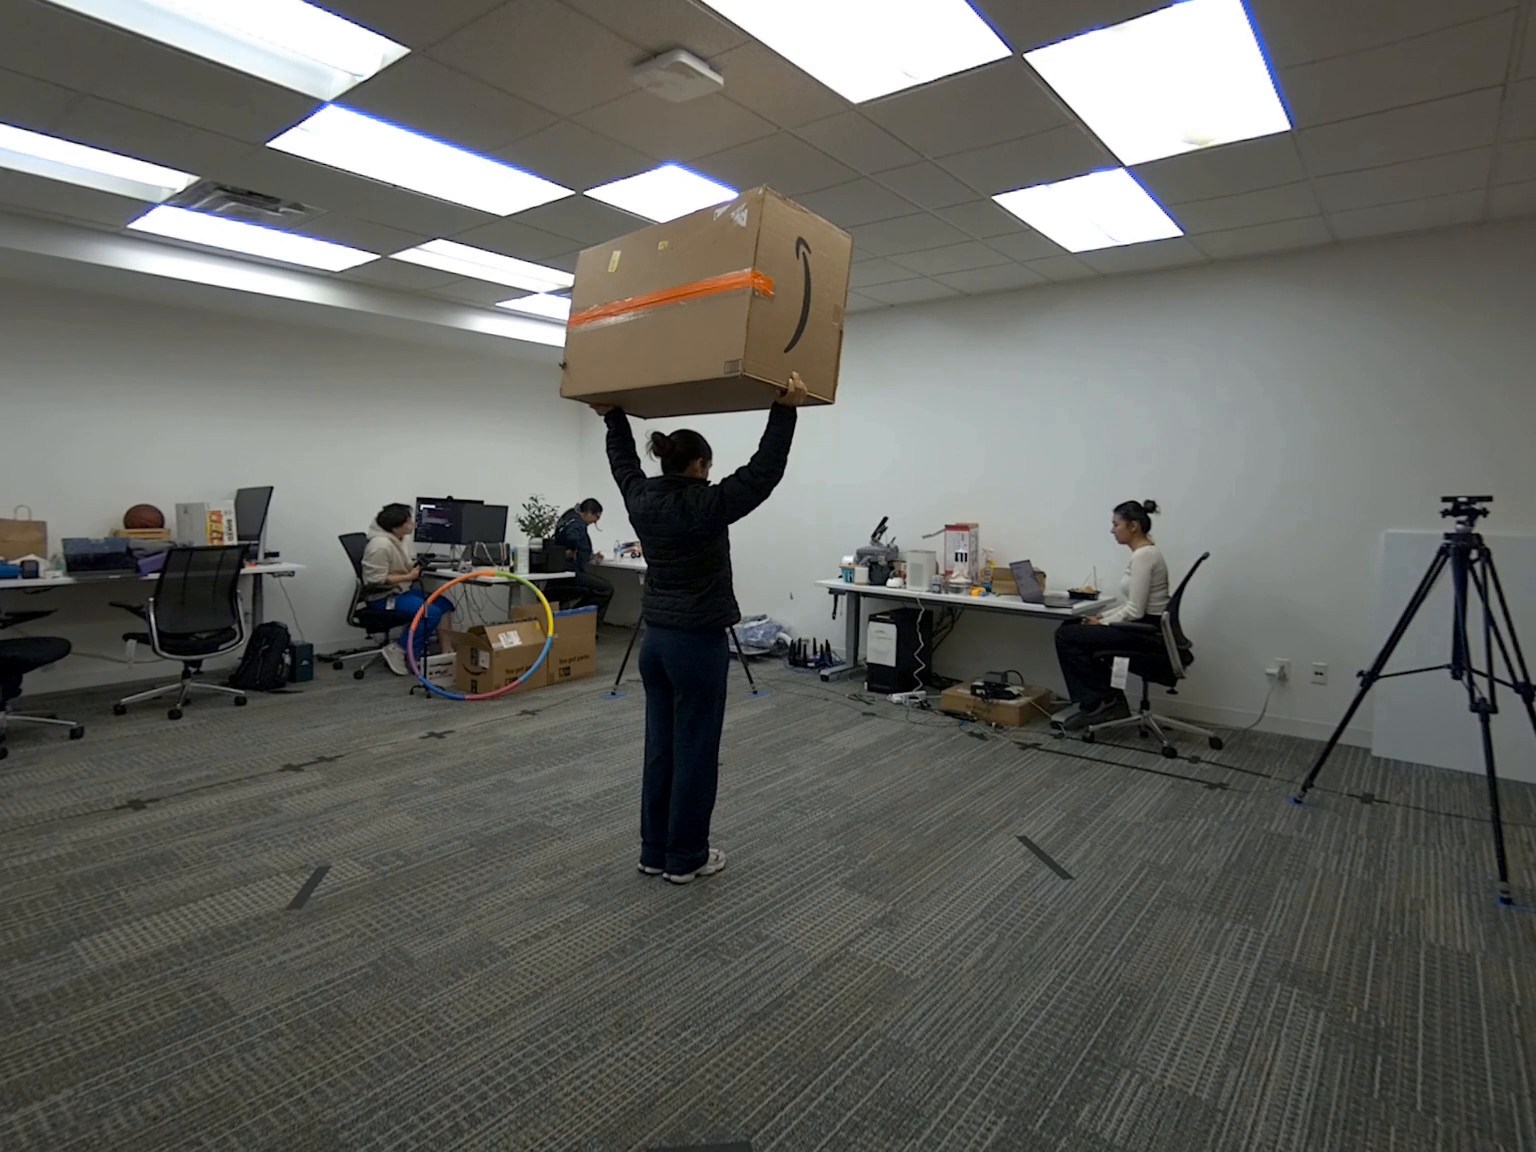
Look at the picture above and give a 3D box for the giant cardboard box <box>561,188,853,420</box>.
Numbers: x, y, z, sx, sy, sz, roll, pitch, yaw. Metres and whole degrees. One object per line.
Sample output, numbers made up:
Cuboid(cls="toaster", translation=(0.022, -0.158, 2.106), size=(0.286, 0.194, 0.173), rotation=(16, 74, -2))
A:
Cuboid(cls="giant cardboard box", translation=(-0.246, -0.902, 3.036), size=(0.431, 0.584, 1.063), rotation=(7, 0, -44))
